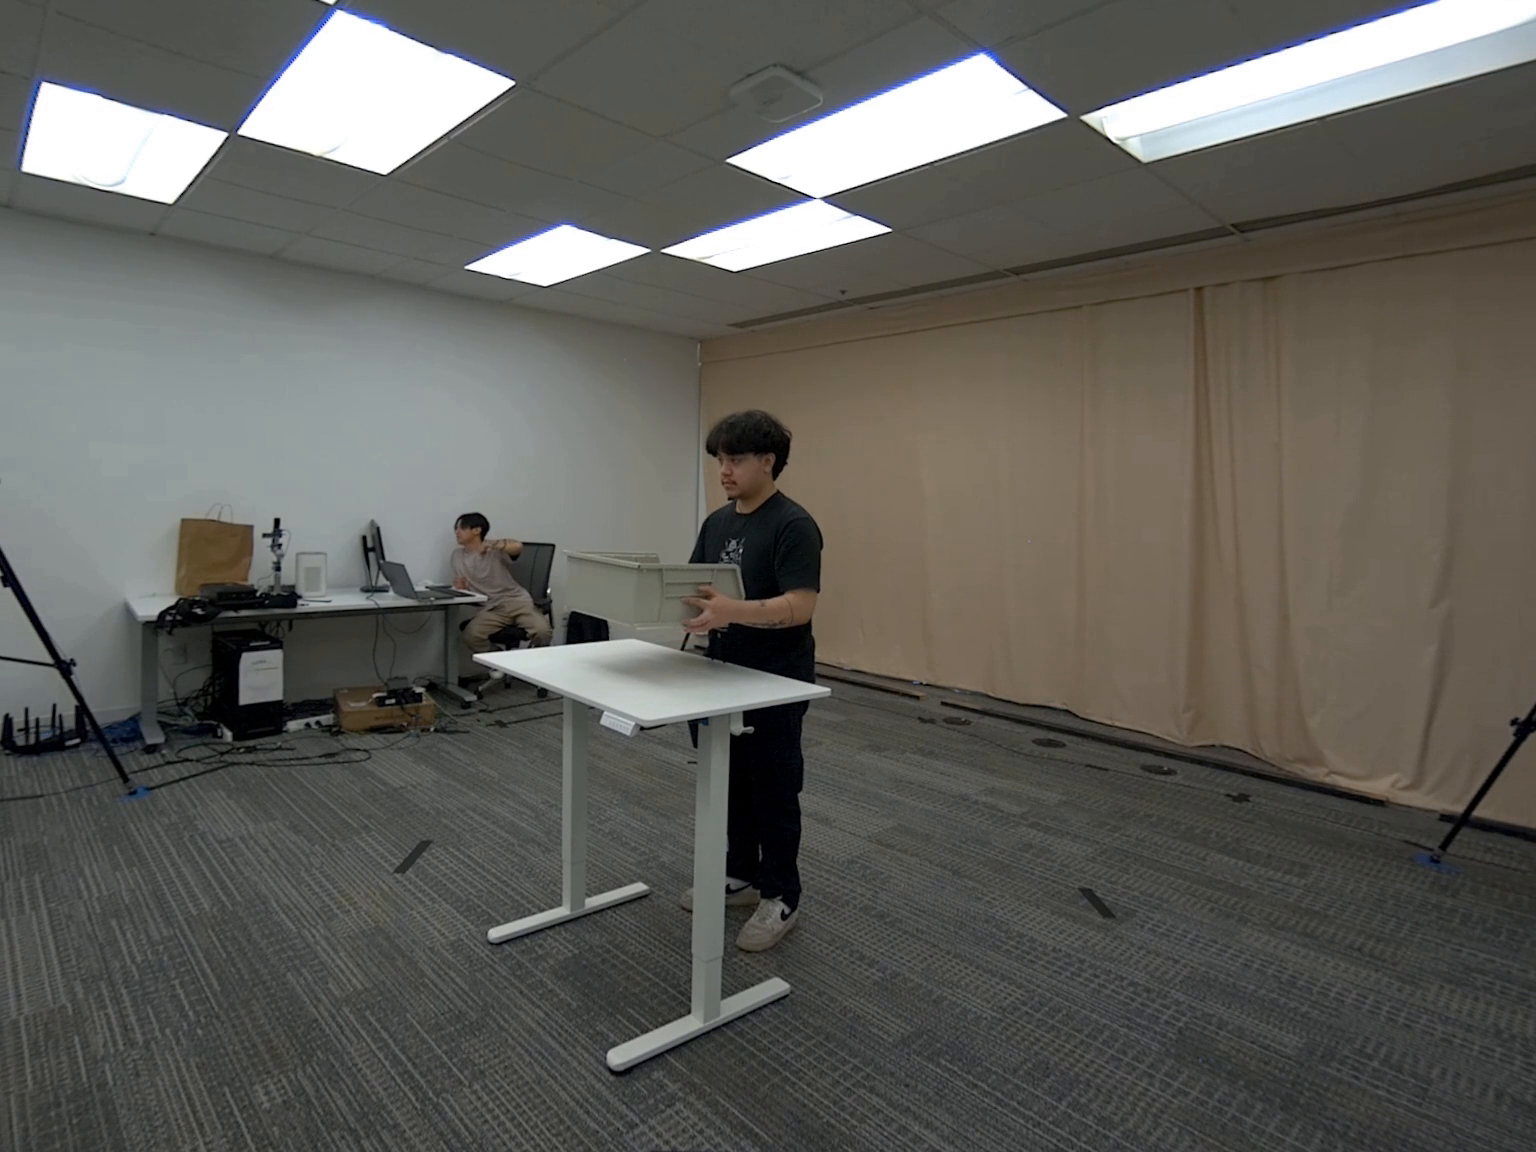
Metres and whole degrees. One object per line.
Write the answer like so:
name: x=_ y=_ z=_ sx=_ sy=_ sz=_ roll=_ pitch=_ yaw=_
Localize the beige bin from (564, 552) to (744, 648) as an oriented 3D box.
beige bin: x=-0.345 y=0.042 z=2.480 sx=0.369 sy=0.188 sz=0.433 roll=-2 pitch=8 yaw=-39
